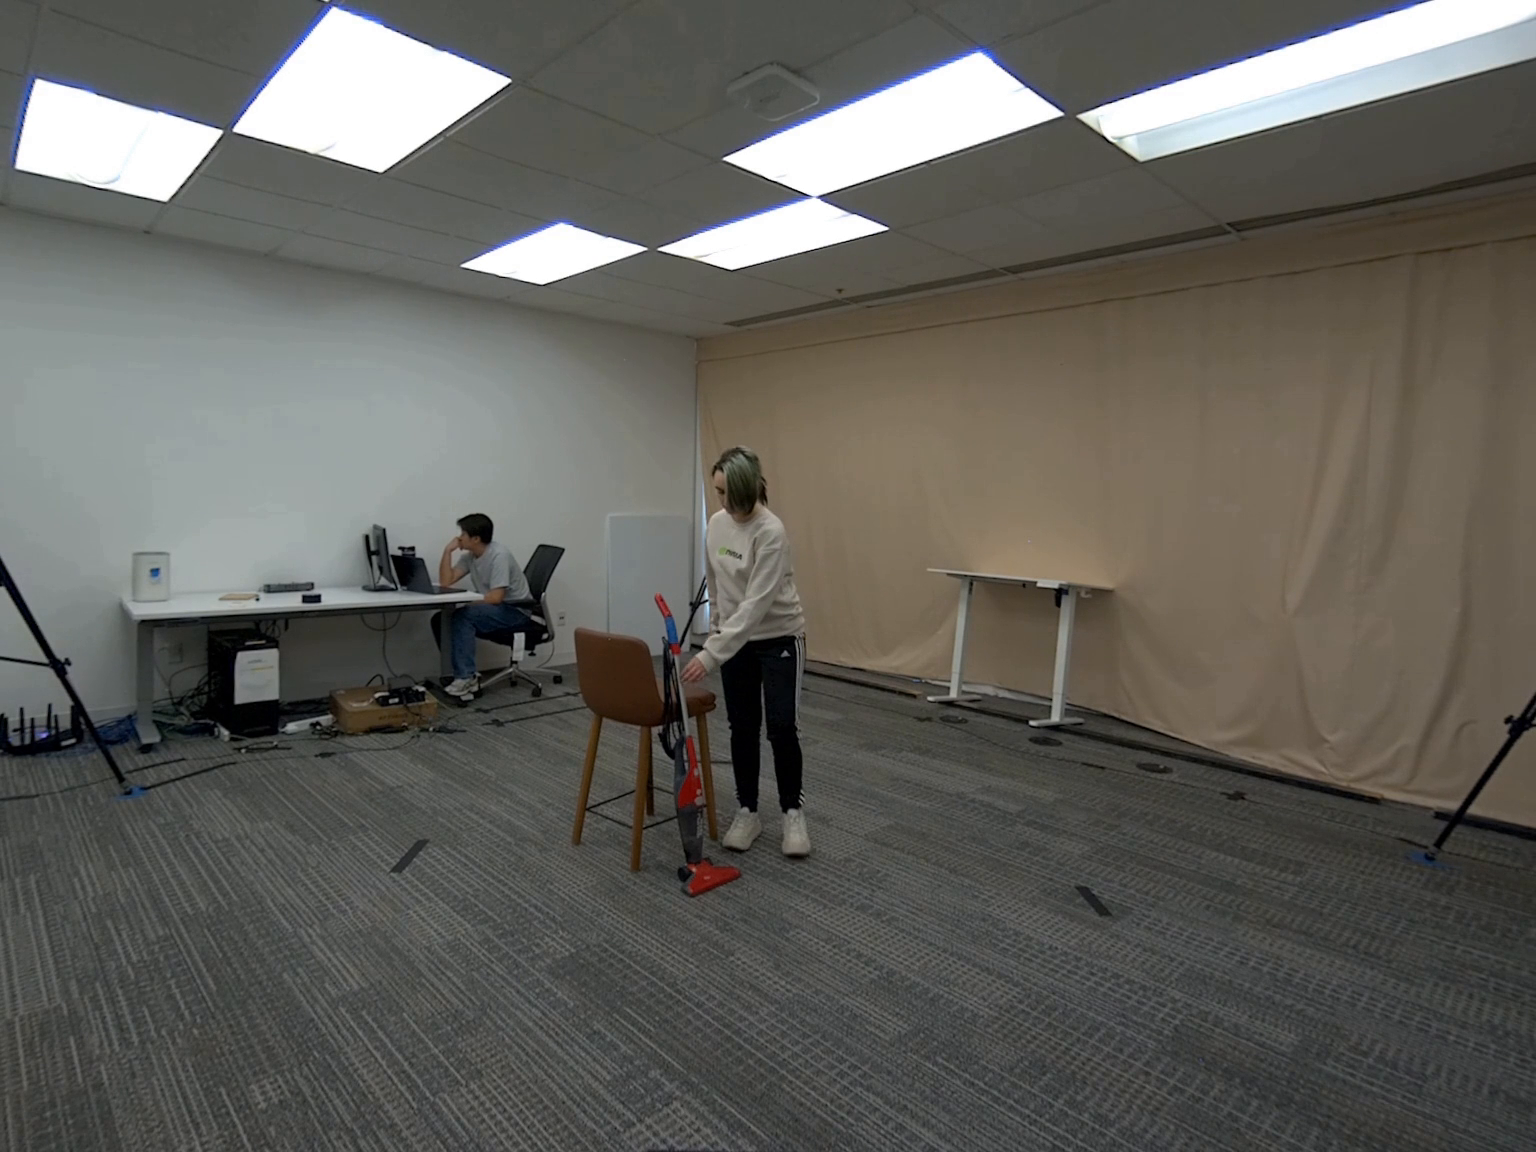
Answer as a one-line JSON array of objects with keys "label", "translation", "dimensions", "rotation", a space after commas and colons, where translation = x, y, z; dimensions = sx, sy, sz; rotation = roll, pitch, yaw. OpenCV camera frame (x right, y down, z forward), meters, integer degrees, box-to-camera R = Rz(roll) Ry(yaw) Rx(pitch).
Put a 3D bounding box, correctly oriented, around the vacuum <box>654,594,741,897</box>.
[{"label": "vacuum", "translation": [-0.340, 0.595, 3.127], "dimensions": [0.247, 1.057, 0.146], "rotation": [-4, -11, -38]}]
